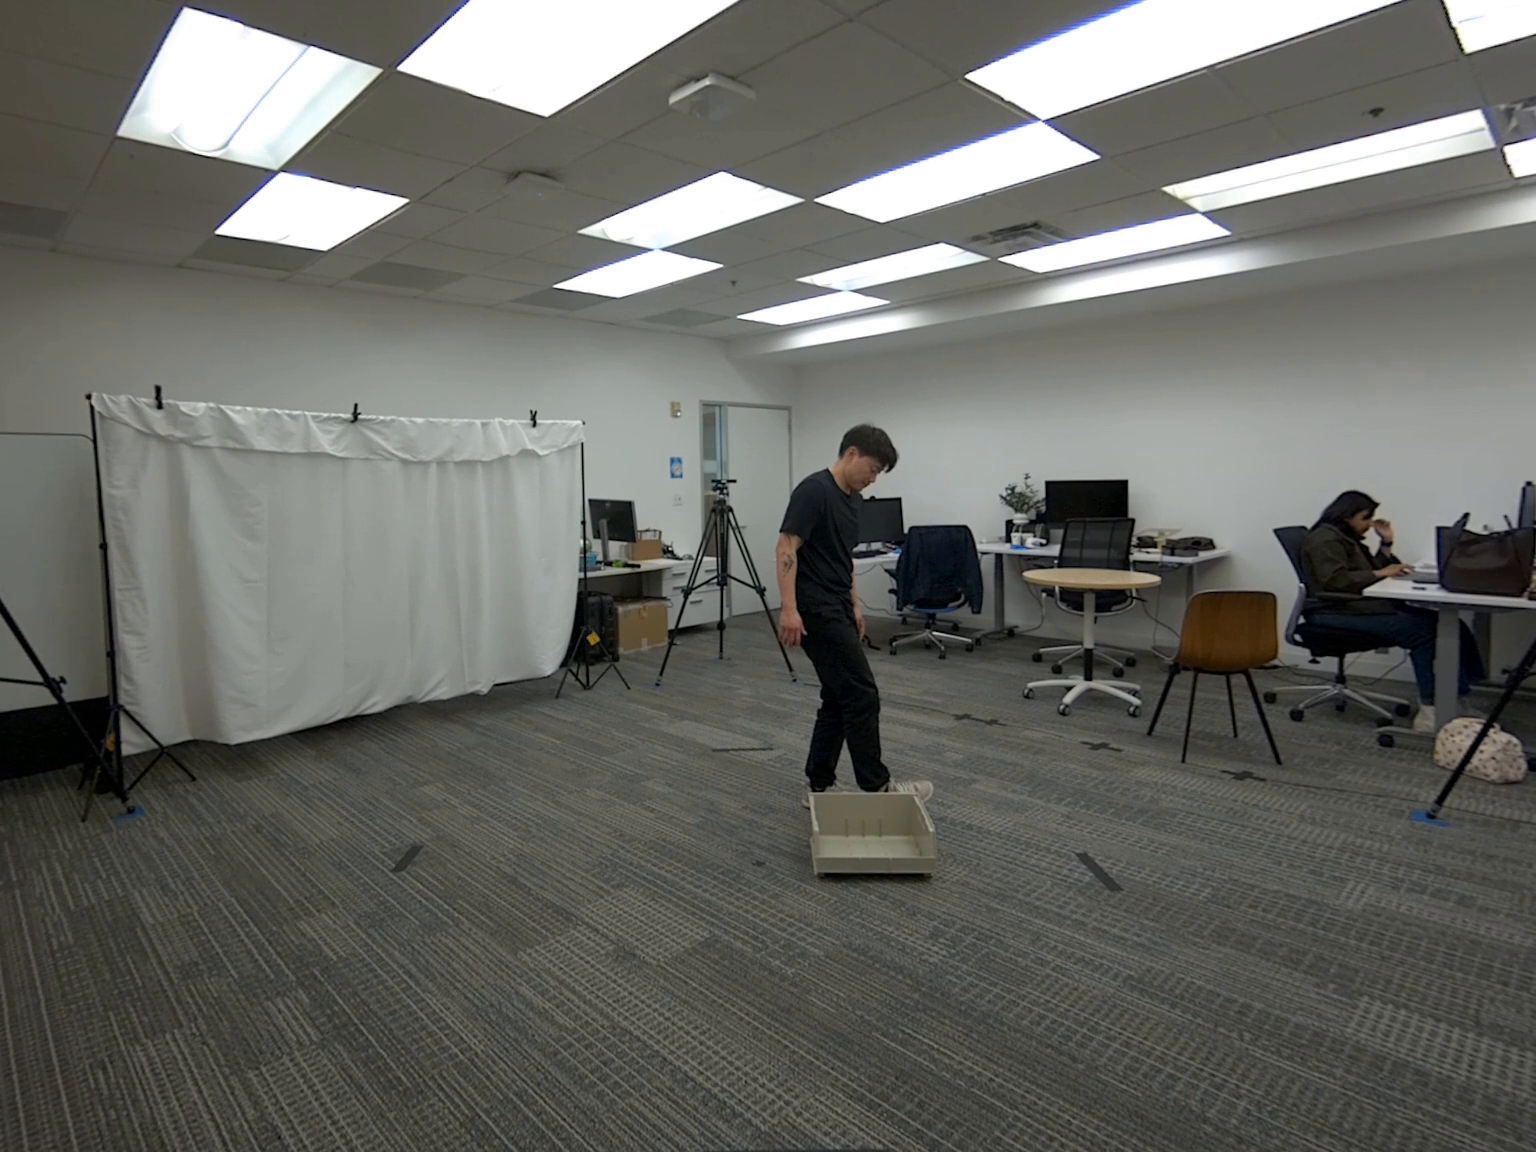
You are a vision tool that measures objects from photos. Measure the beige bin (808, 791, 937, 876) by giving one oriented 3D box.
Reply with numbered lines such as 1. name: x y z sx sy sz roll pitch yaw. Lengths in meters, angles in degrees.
1. beige bin: 0.373 0.953 3.123 0.423 0.188 0.378 -2 5 1
